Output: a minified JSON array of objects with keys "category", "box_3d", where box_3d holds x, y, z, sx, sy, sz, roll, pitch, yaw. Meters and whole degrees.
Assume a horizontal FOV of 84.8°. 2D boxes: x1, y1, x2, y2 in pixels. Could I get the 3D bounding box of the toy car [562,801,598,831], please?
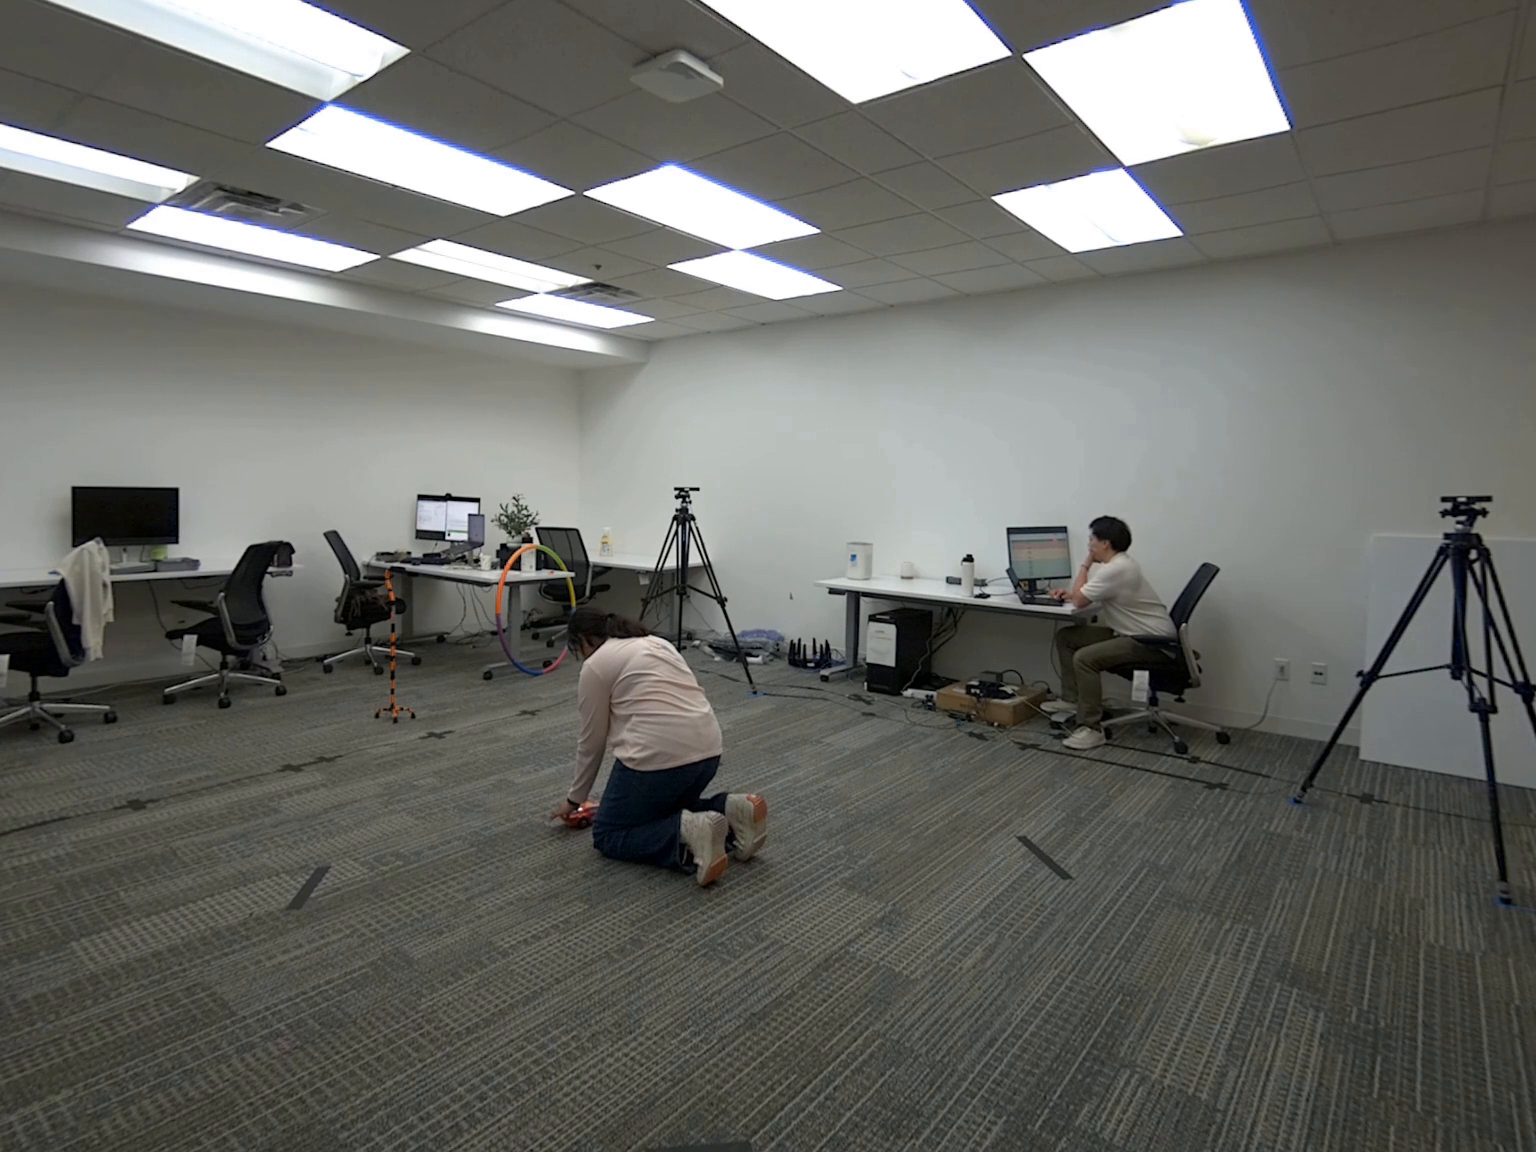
[{"category":"toy car","box_3d":[-0.764,0.985,3.525,0.245,0.083,0.134,12,-6,-39]}]
